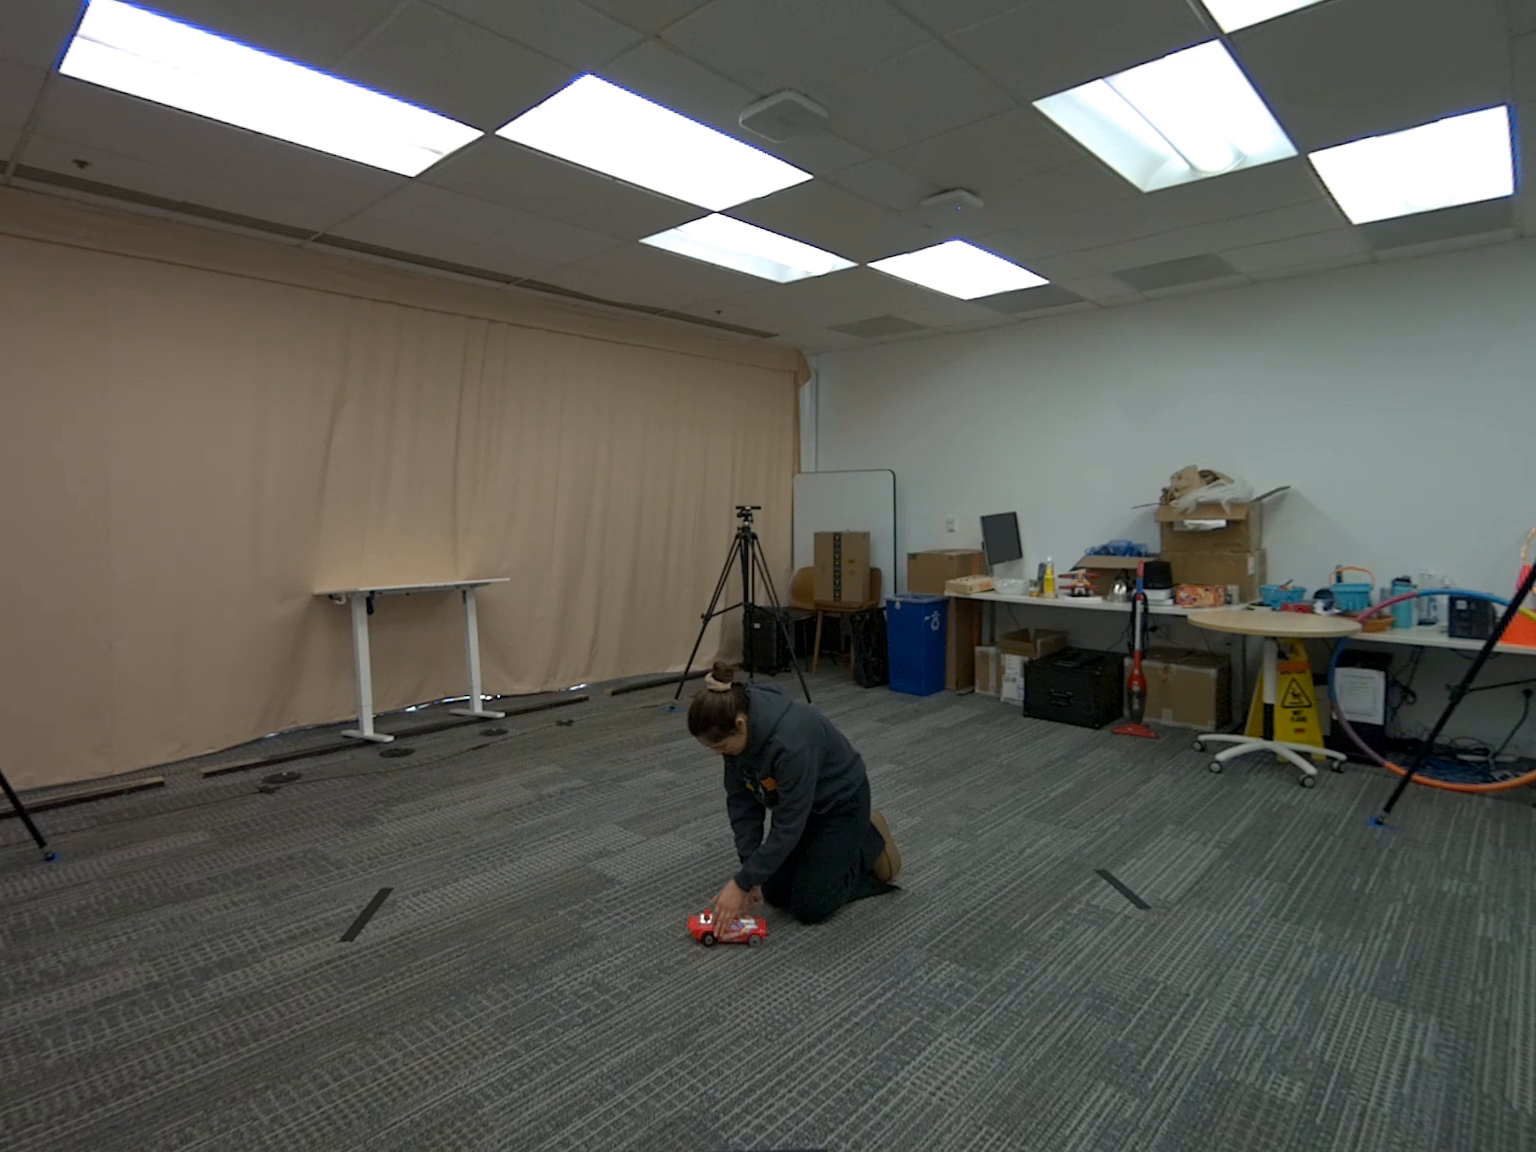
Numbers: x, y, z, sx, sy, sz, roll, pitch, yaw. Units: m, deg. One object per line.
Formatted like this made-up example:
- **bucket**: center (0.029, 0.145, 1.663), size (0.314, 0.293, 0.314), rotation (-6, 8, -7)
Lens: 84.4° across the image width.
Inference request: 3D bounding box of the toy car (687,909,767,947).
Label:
- **toy car**: center (-0.120, 1.135, 2.710), size (0.255, 0.083, 0.130), rotation (12, 4, 0)
